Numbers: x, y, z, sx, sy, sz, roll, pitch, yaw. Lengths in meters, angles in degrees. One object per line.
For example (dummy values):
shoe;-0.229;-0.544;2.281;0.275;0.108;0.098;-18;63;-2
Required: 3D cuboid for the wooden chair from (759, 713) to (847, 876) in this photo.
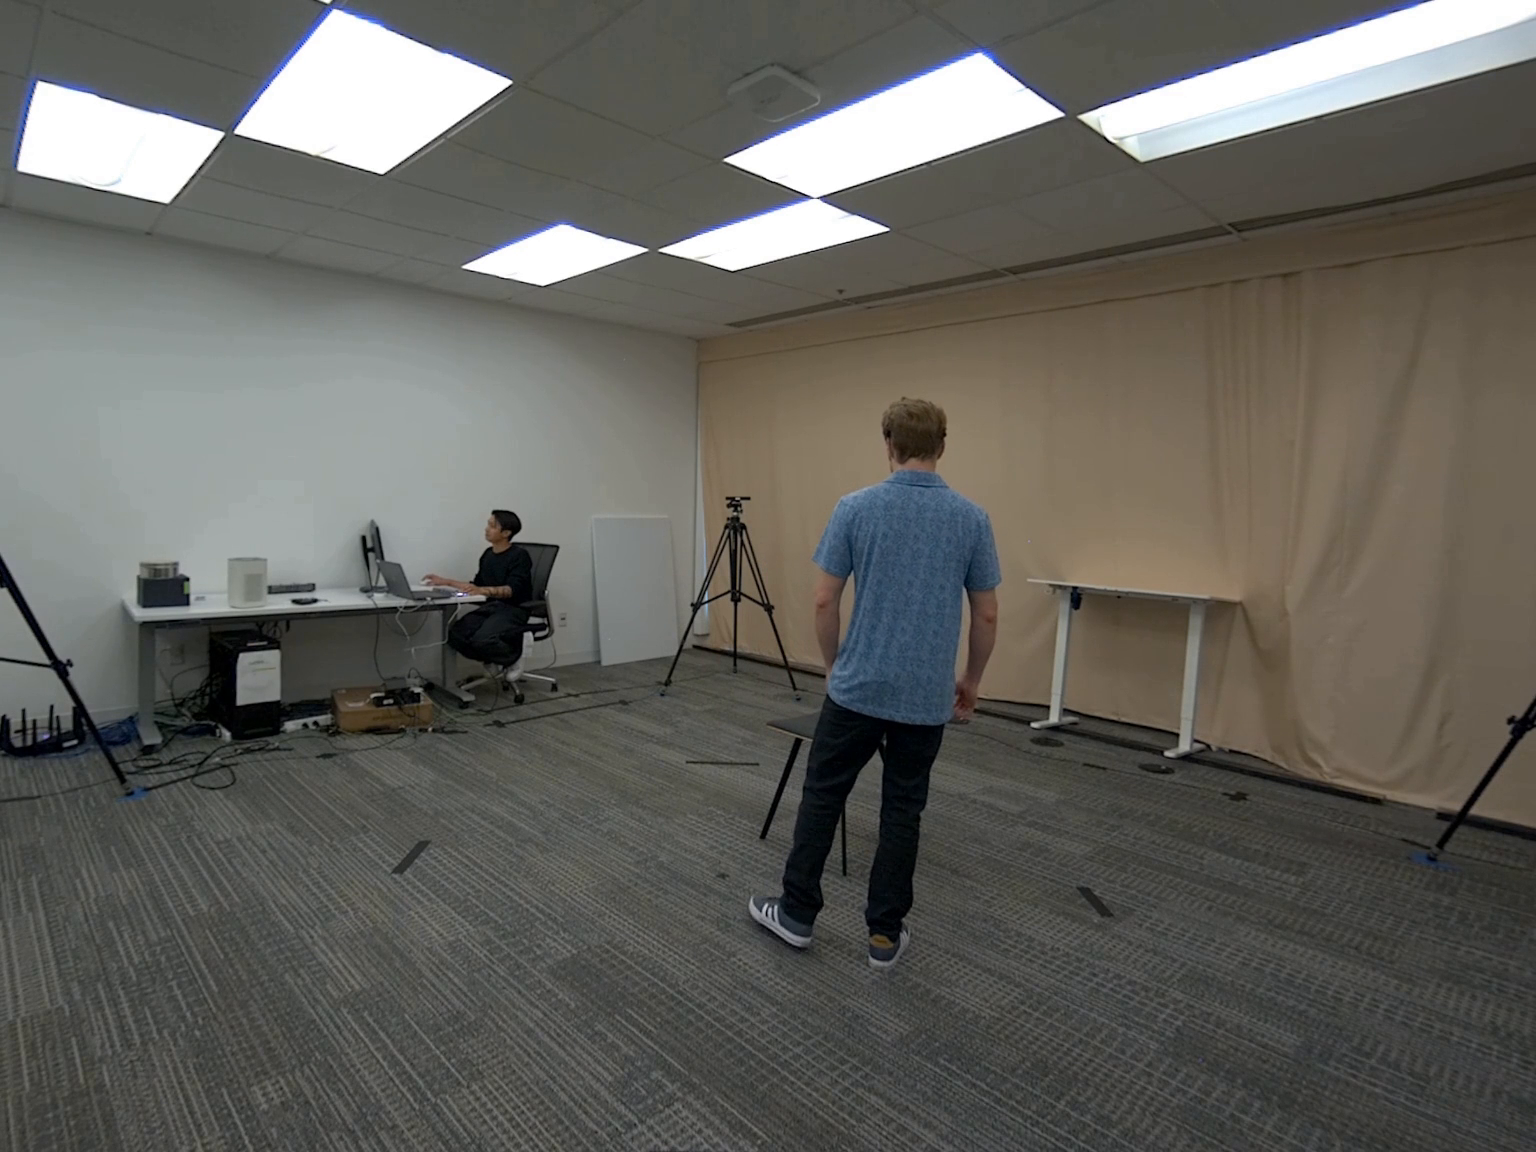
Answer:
wooden chair;0.287;0.666;3.410;0.467;0.873;0.537;-1;9;-44
